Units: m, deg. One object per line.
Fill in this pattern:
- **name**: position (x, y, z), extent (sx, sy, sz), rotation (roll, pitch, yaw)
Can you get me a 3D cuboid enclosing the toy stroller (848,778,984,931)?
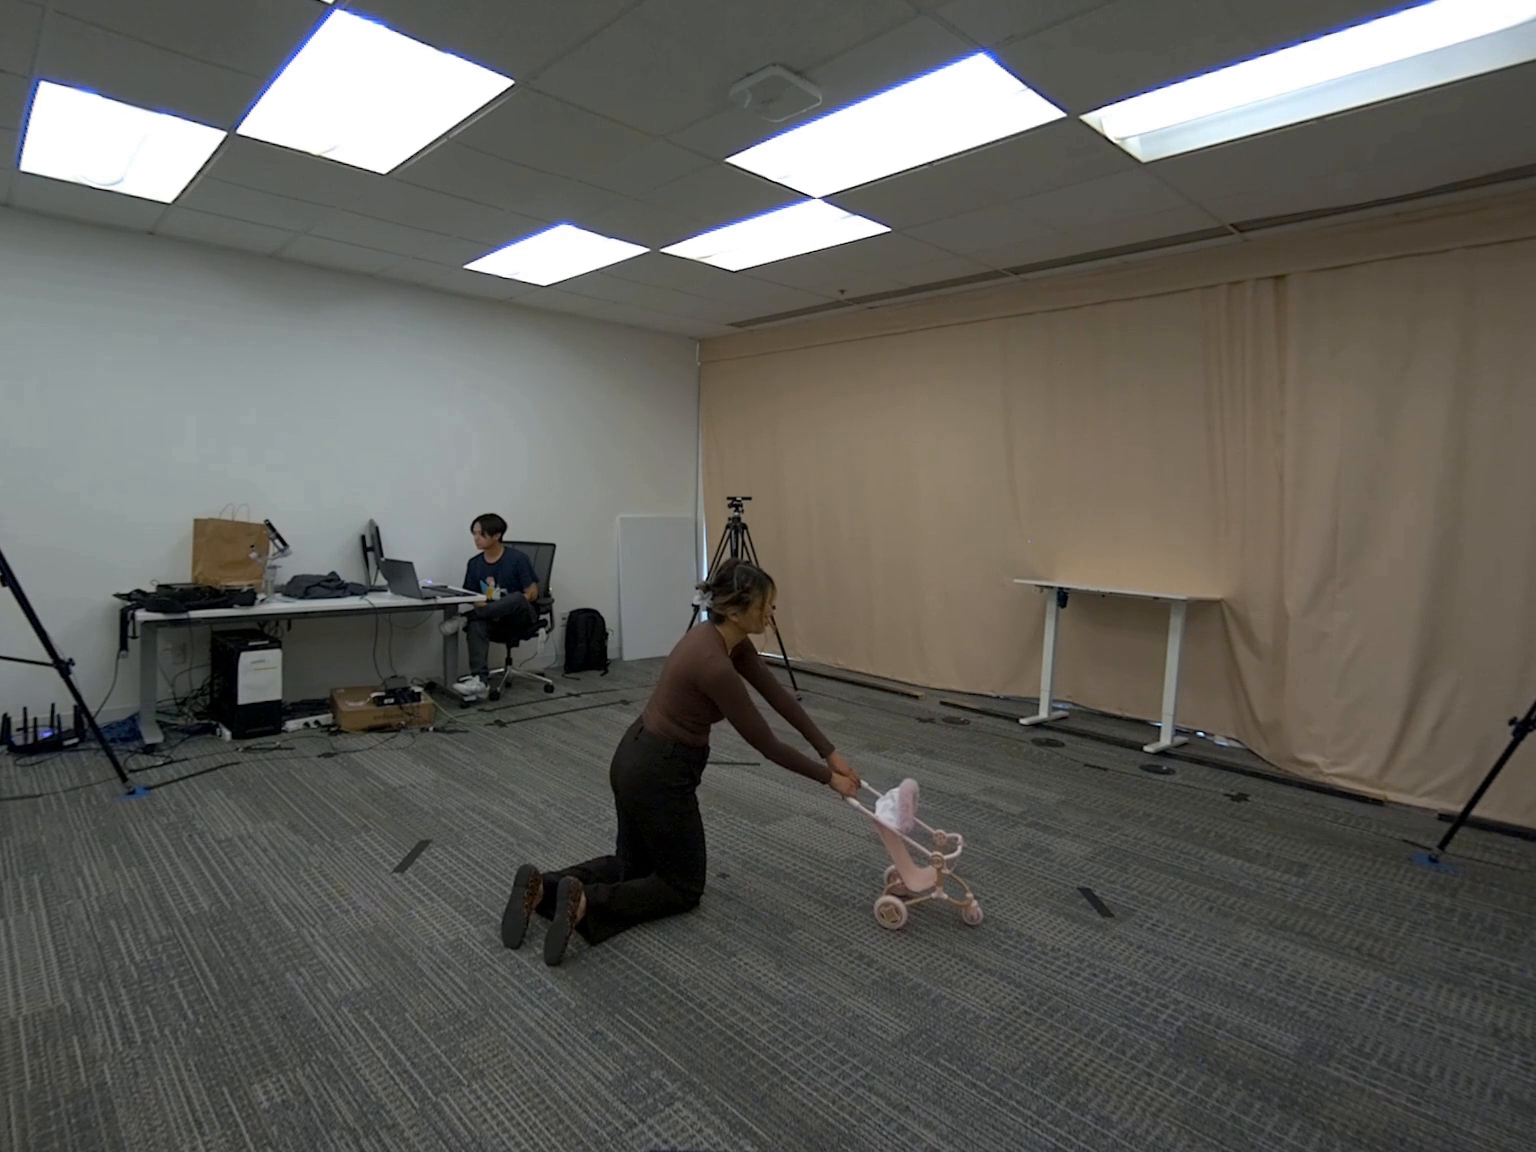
- **toy stroller**: position (0.475, 0.922, 2.832), extent (0.345, 0.536, 0.277), rotation (-16, -3, 22)
